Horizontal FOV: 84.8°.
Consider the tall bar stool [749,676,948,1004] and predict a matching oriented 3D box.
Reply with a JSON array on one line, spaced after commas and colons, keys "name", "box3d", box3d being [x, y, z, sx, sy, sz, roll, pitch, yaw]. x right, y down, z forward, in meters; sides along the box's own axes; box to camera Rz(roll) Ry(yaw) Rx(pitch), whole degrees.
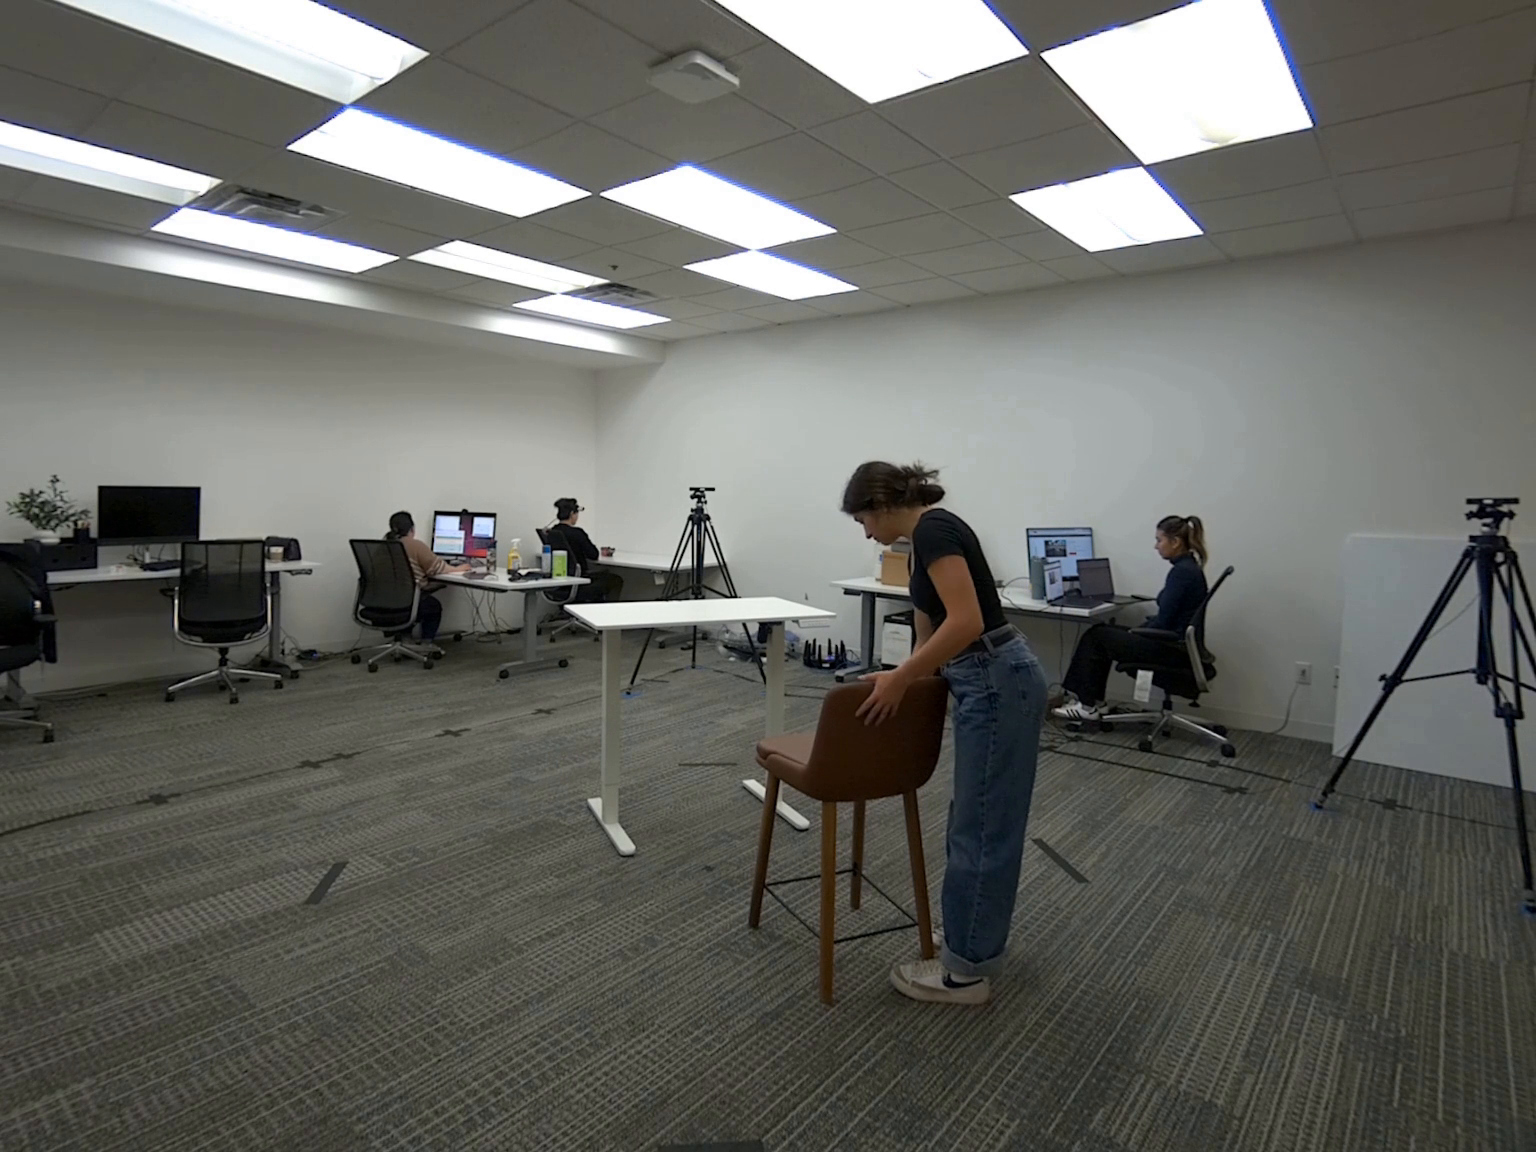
[{"name": "tall bar stool", "box3d": [0.223, 0.692, 2.554, 0.446, 0.886, 0.481, 0, 5, -25]}]
